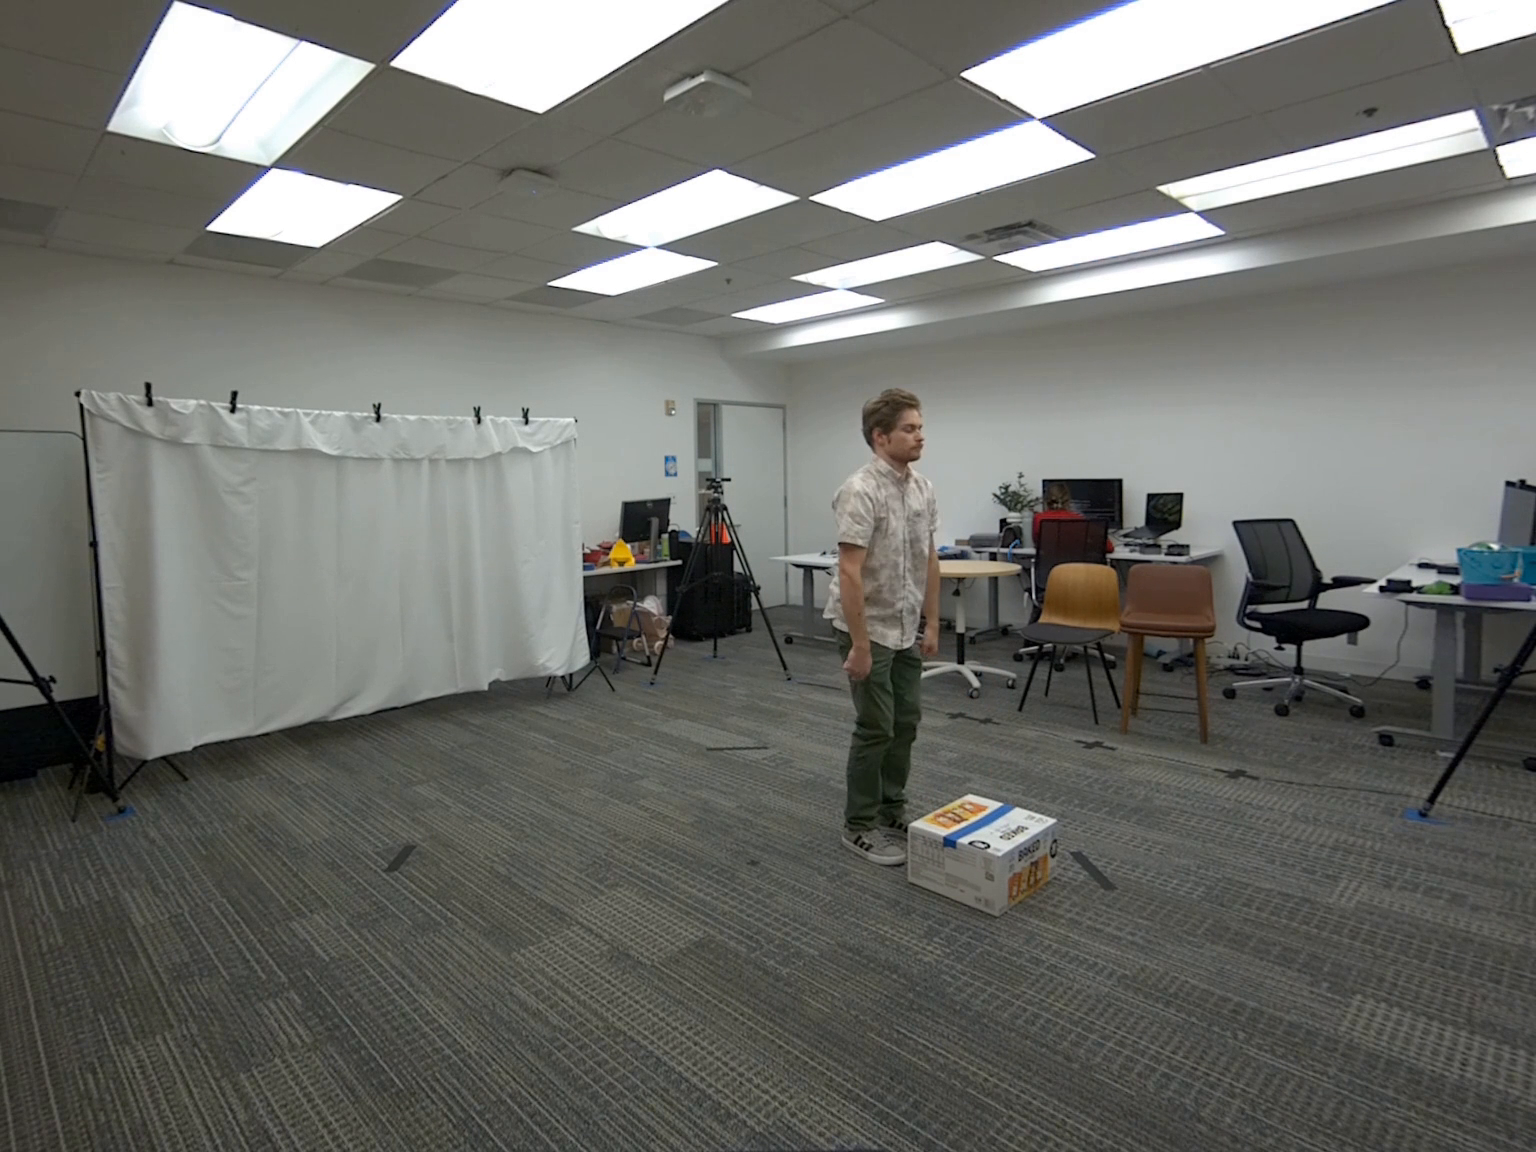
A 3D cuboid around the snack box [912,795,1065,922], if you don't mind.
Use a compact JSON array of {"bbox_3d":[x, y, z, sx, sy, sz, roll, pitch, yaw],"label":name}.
[{"bbox_3d":[0.754,0.949,2.935,0.394,0.205,0.351,-6,8,-44],"label":"snack box"}]
